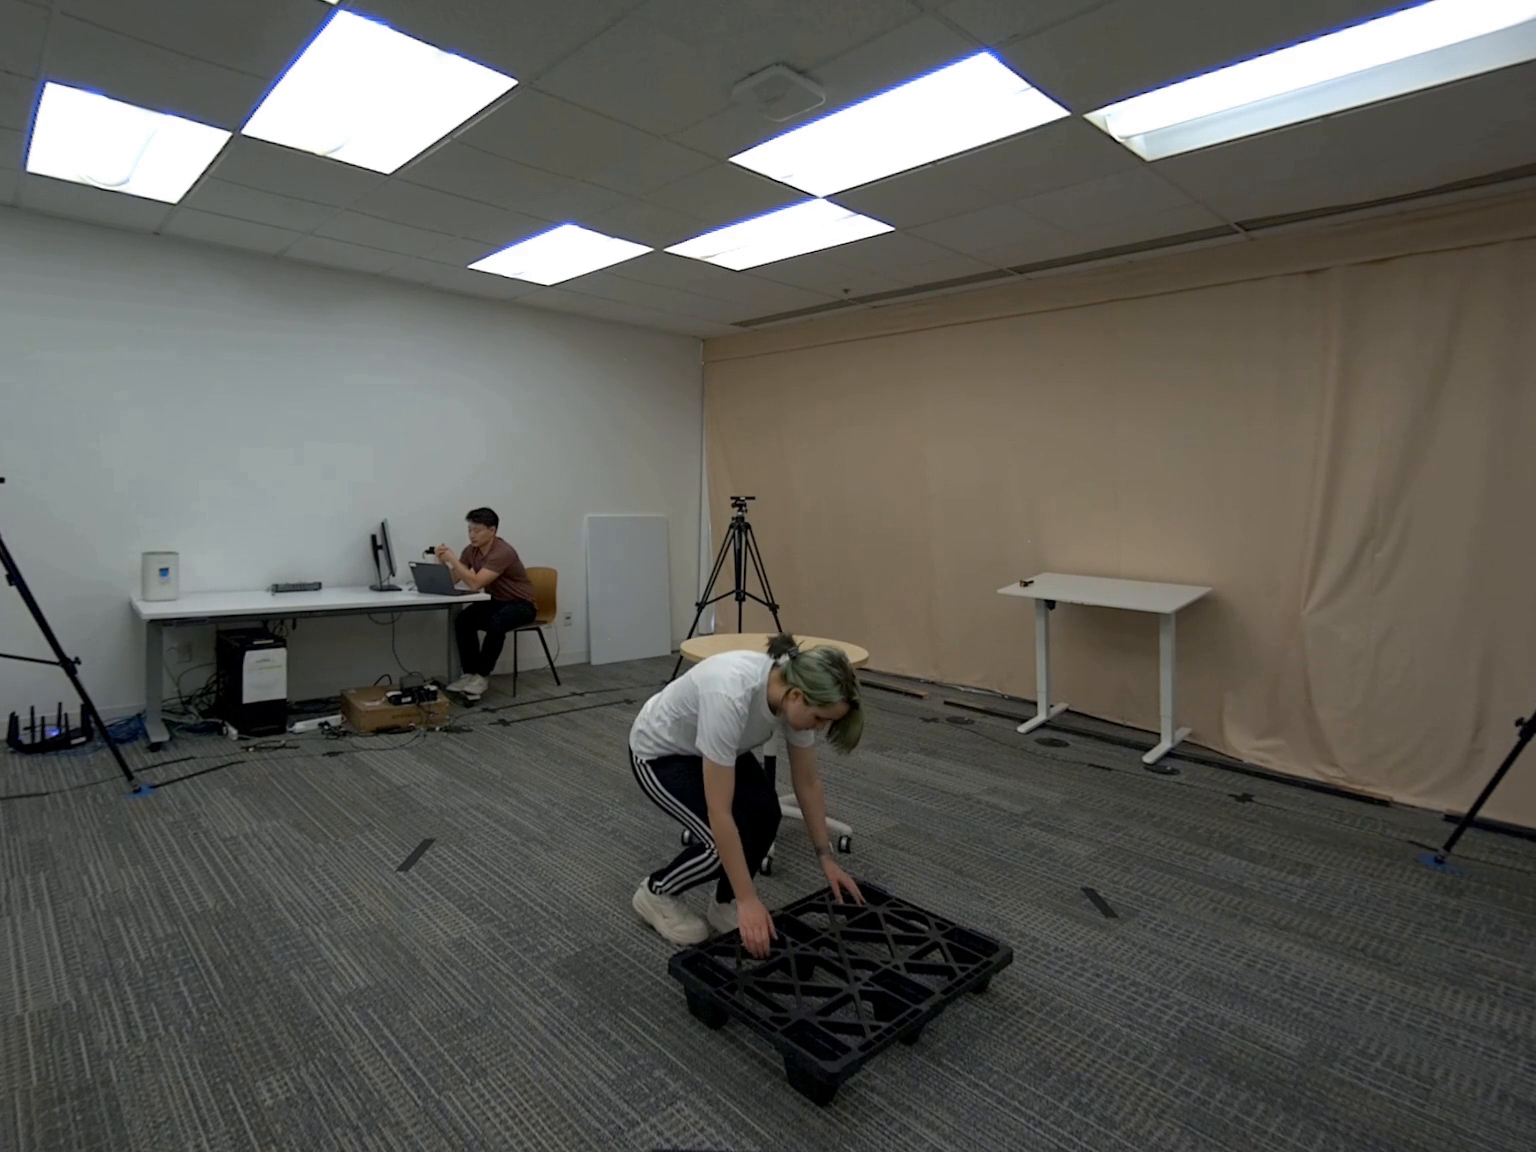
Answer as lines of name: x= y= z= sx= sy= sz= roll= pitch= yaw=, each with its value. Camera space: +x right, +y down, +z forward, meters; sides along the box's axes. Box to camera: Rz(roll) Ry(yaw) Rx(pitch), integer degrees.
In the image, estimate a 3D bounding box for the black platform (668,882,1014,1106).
black platform: x=0.206 y=1.117 z=2.344 sx=0.787 sy=0.143 sz=0.621 roll=-4 pitch=8 yaw=-44
